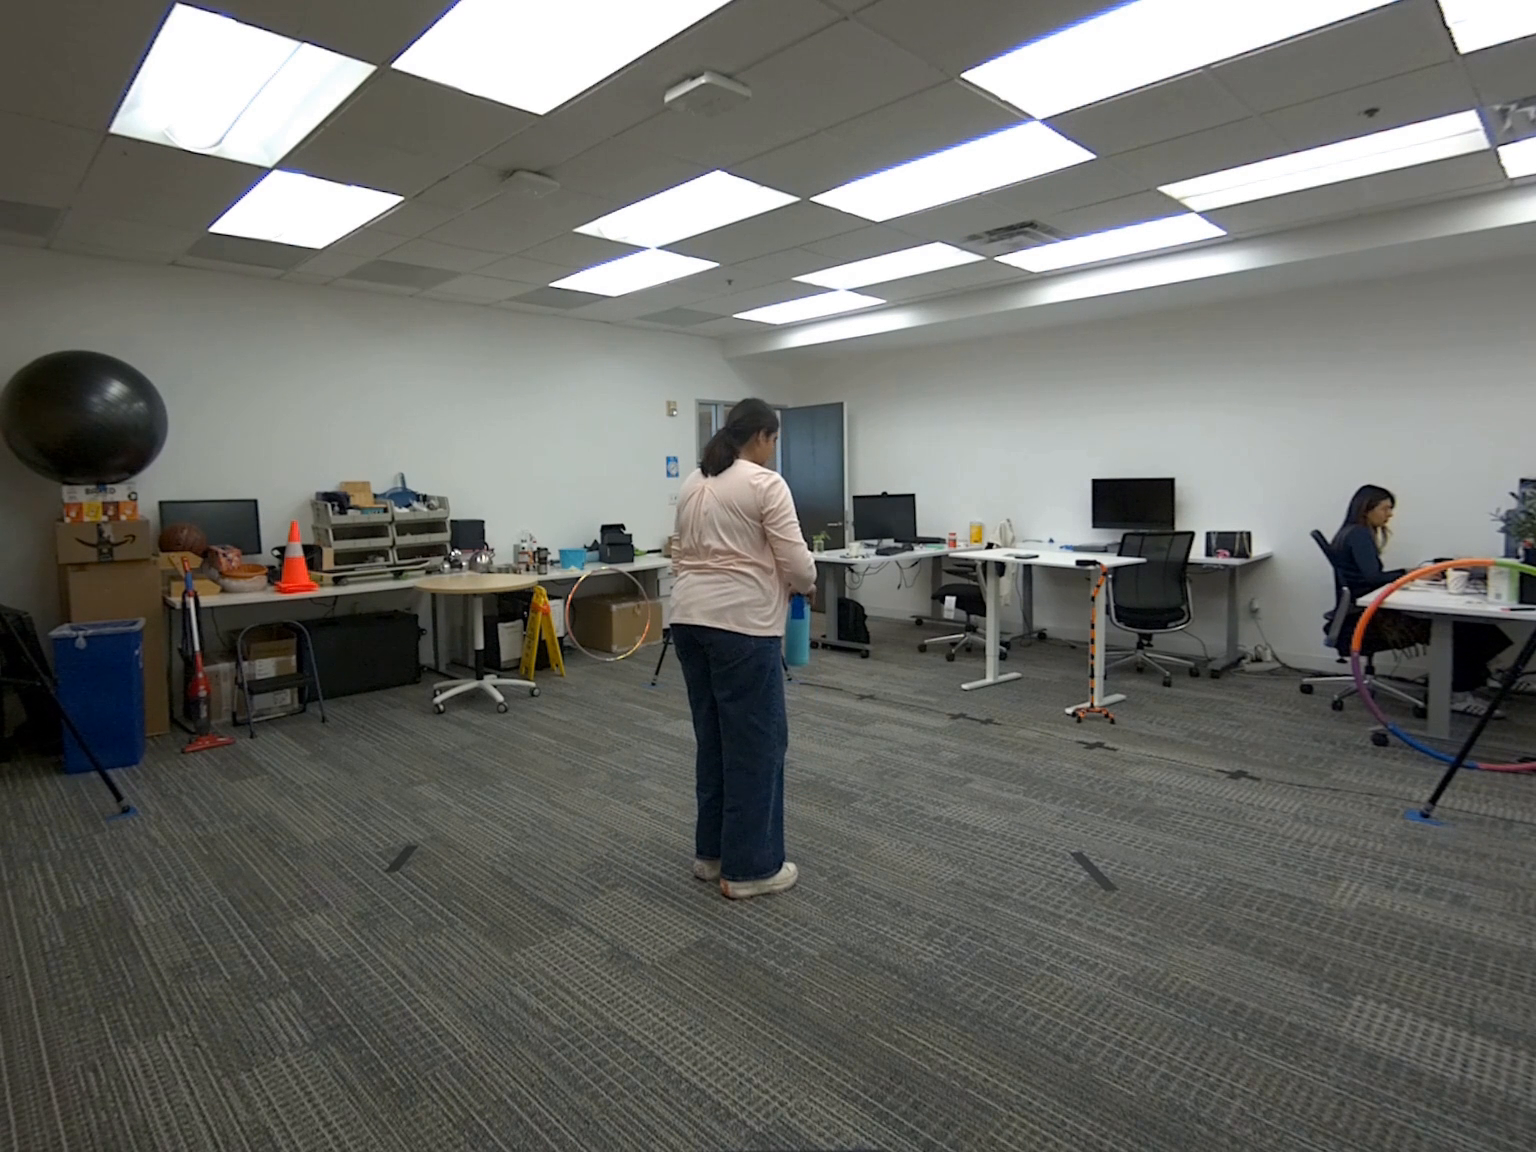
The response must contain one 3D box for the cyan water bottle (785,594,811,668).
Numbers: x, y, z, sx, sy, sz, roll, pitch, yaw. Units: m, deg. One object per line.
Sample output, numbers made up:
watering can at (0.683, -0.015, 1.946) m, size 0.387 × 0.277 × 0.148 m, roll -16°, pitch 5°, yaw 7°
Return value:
cyan water bottle at (0.103, 0.190, 3.151) m, size 0.092 × 0.282 × 0.093 m, roll 2°, pitch 4°, yaw -2°
